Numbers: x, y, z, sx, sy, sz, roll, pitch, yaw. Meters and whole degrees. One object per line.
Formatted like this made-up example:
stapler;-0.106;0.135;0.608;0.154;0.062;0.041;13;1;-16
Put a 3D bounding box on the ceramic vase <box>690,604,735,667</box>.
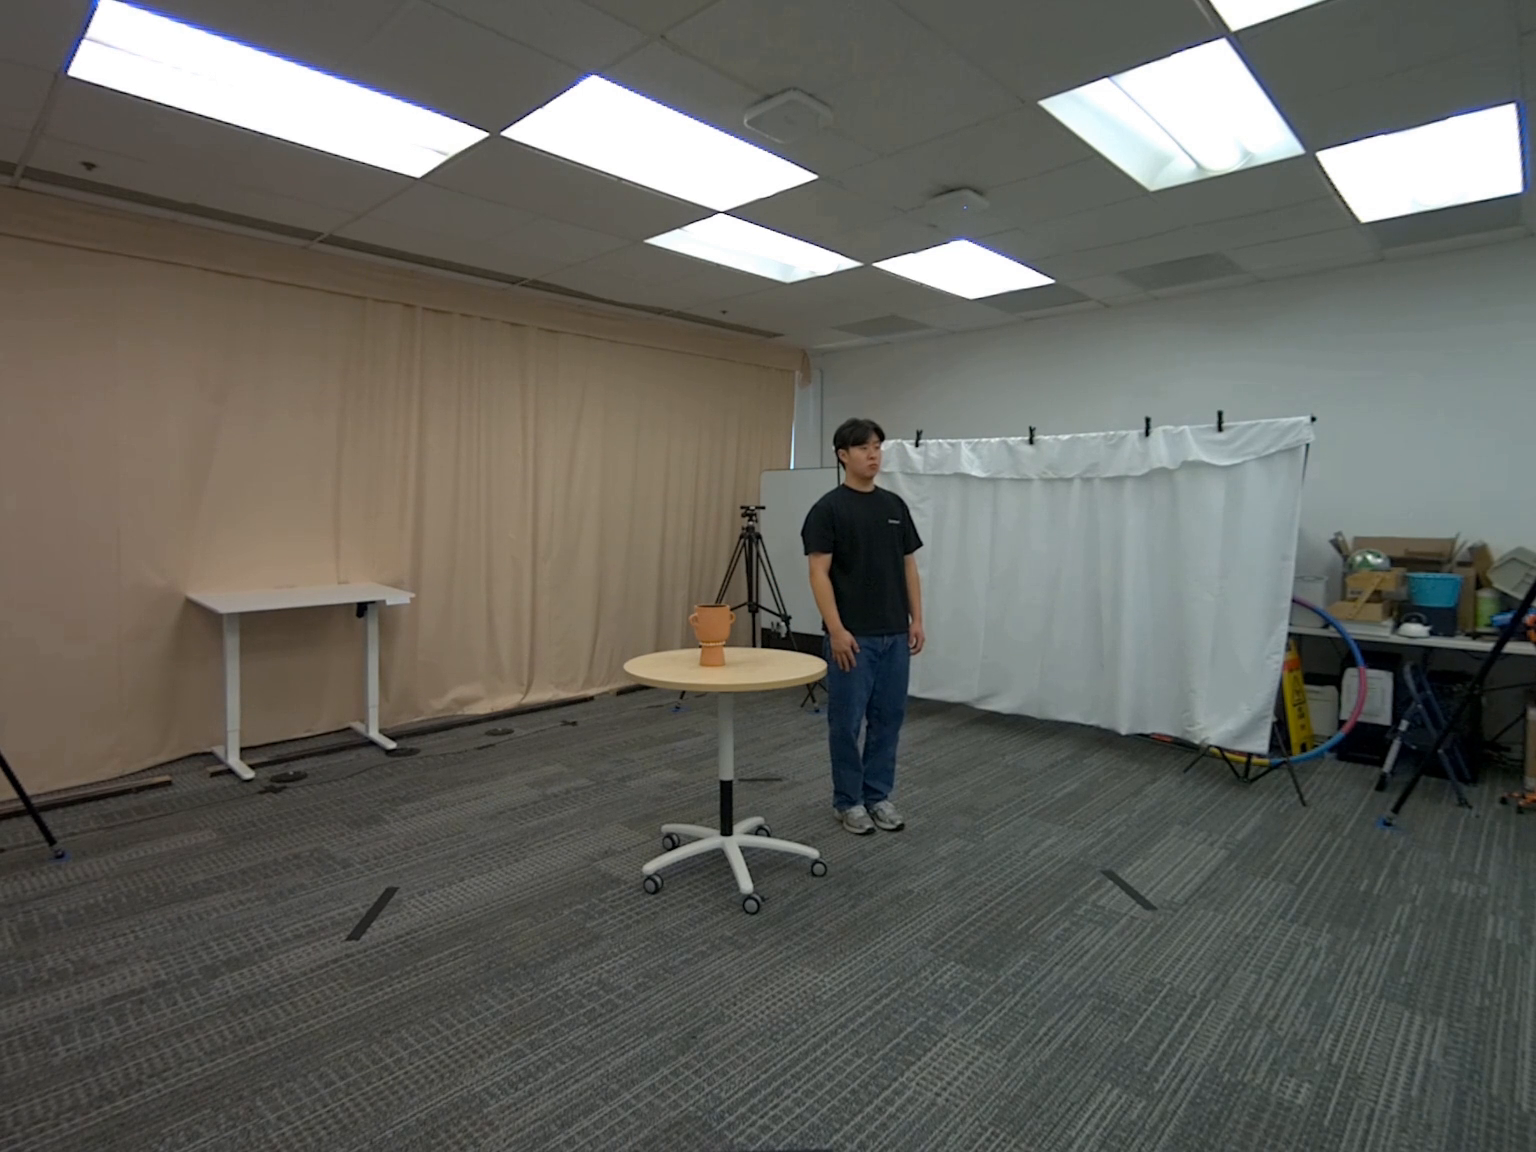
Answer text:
ceramic vase;-0.209;0.226;3.164;0.160;0.219;0.133;0;3;8
